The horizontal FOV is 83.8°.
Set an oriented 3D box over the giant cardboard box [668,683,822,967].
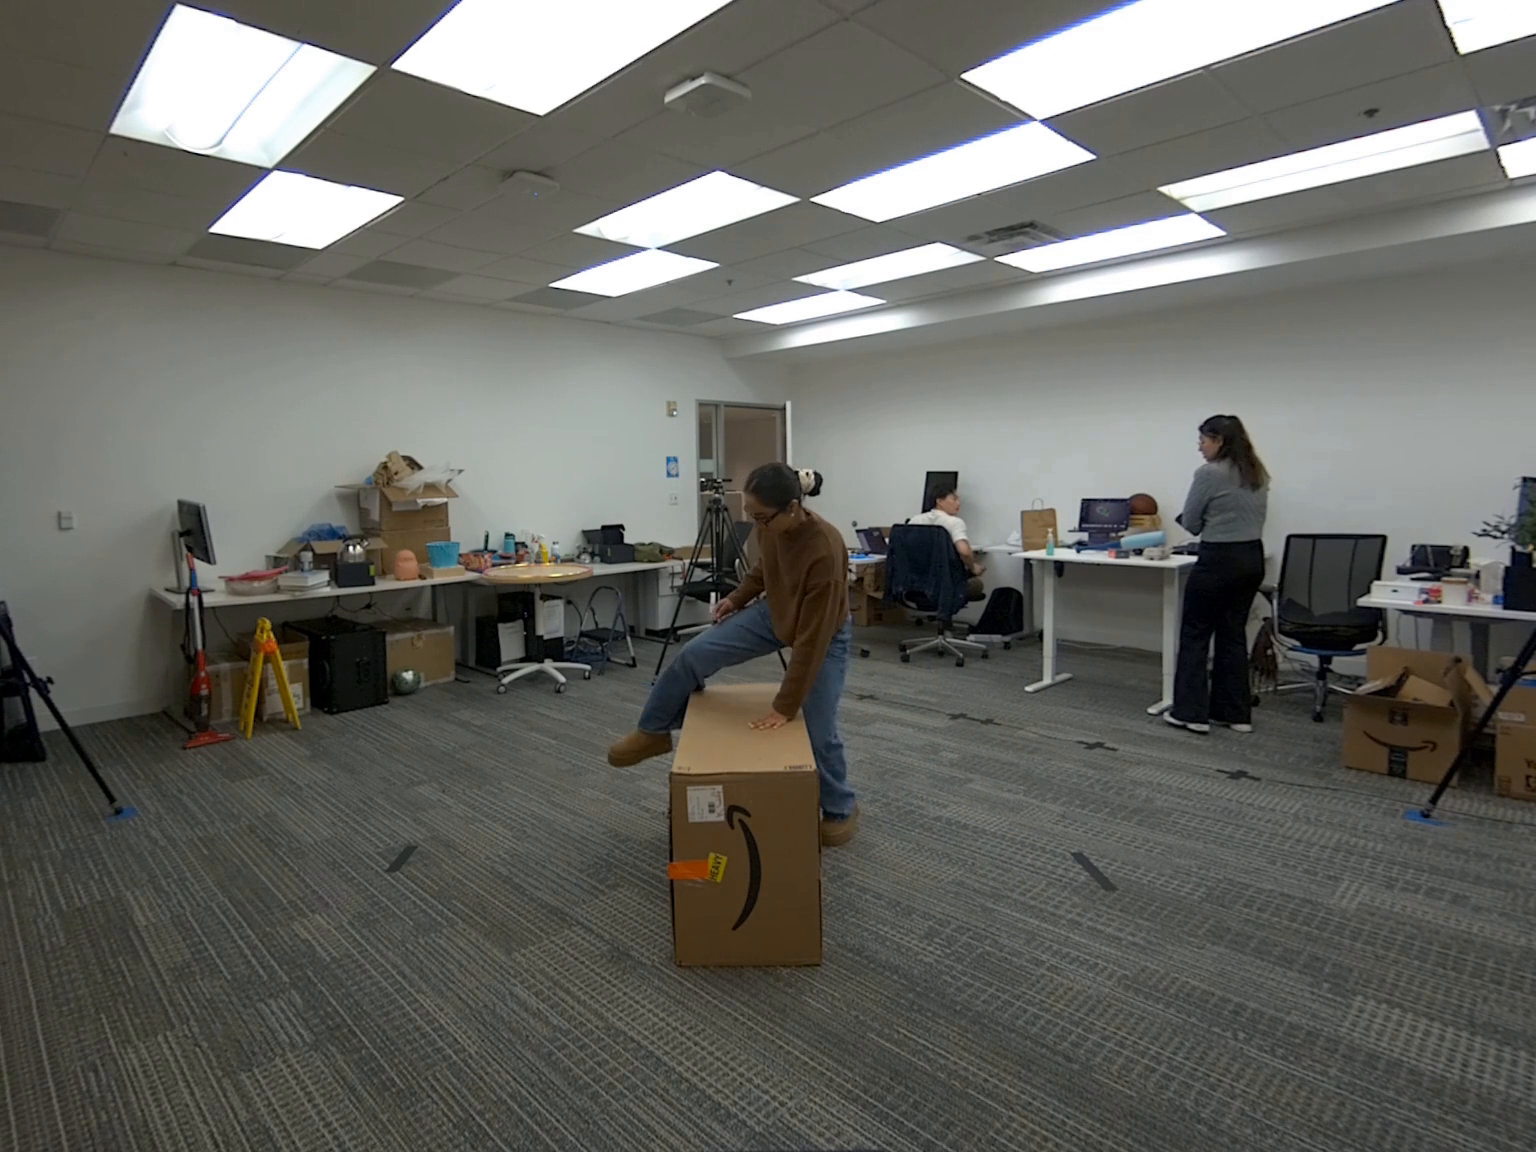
[{"bbox_3d":[-0.082,0.782,2.935,0.447,0.581,1.030,0,5,0],"label":"giant cardboard box"}]
